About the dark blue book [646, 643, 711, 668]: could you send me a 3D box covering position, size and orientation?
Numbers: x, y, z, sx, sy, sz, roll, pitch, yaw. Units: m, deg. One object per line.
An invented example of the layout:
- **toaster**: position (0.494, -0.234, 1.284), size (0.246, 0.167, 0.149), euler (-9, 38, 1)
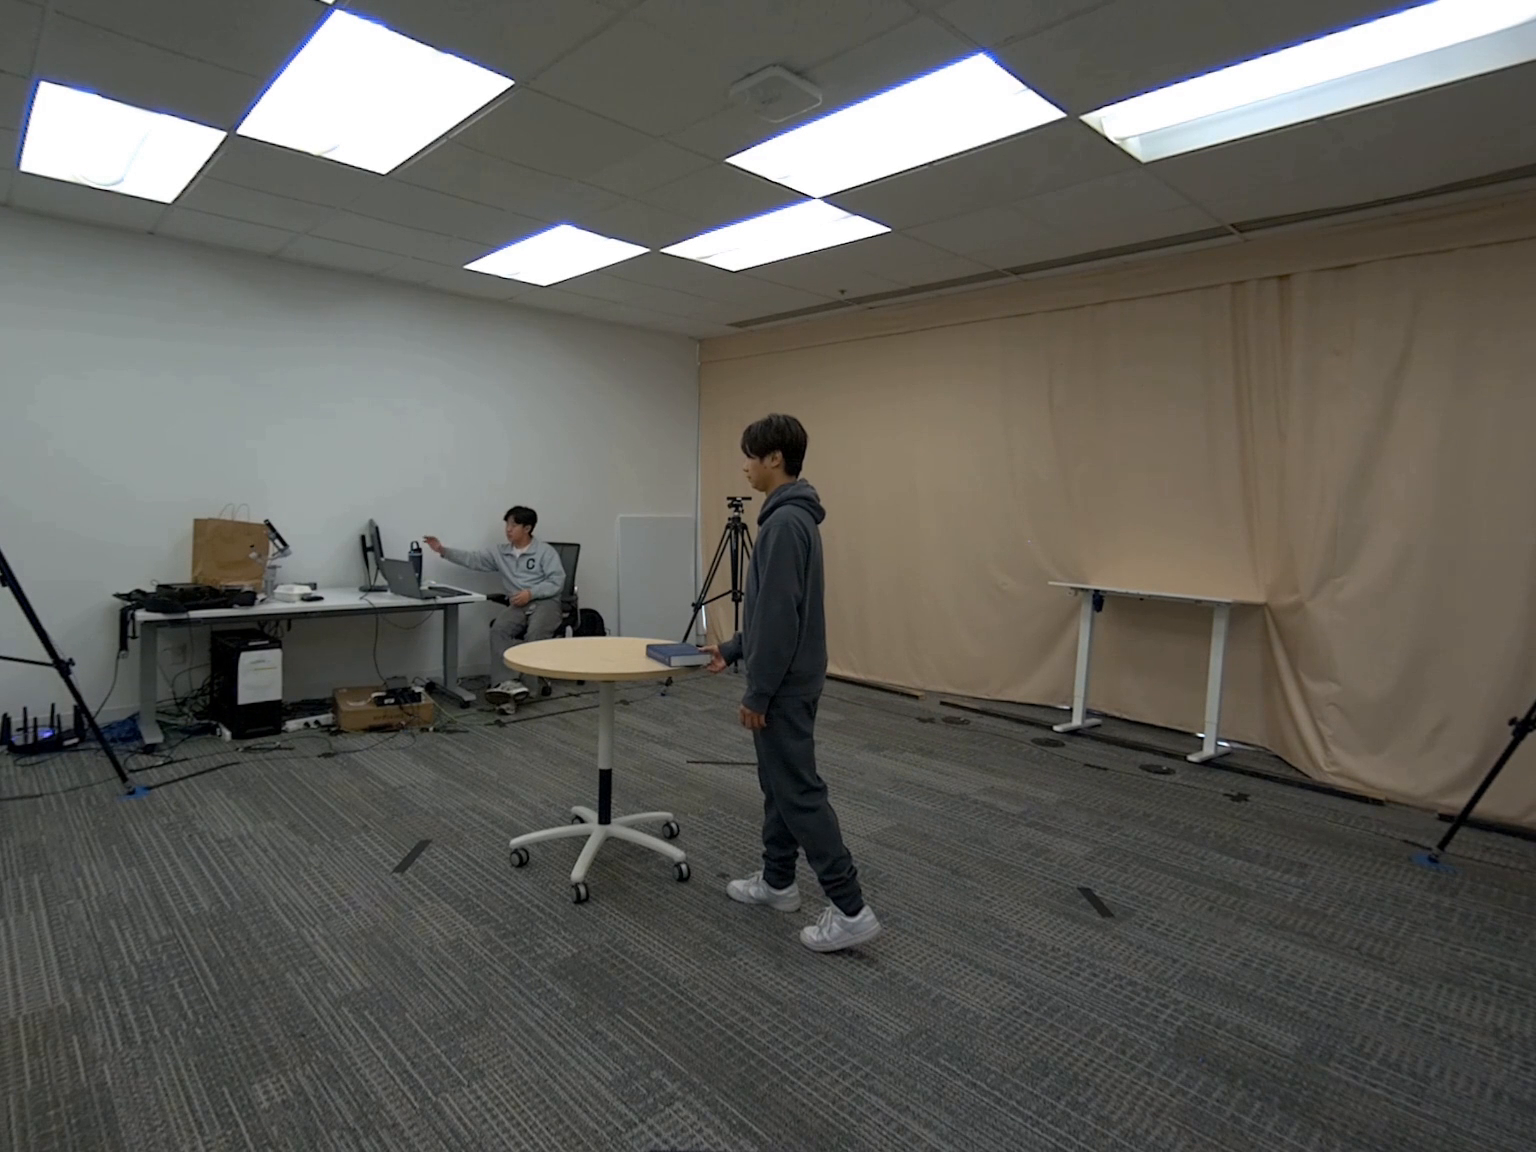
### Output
- **dark blue book**: position (-0.328, 0.286, 3.076), size (0.160, 0.045, 0.250), euler (-1, 5, -28)
